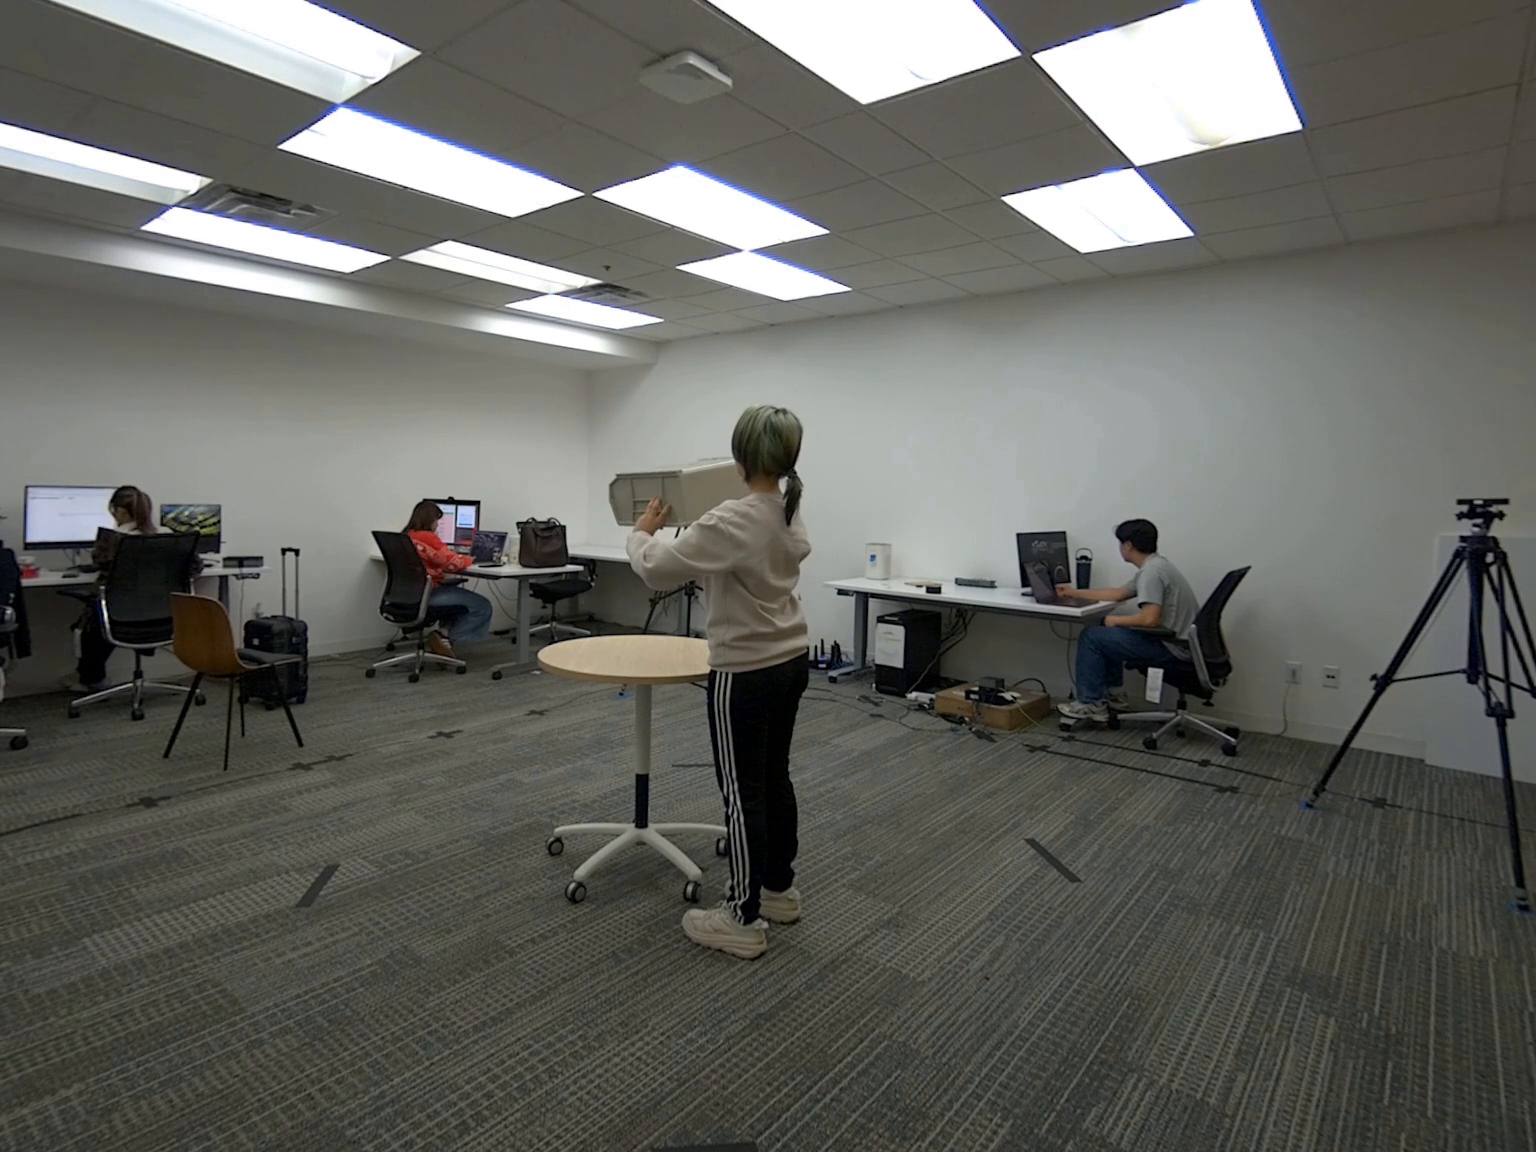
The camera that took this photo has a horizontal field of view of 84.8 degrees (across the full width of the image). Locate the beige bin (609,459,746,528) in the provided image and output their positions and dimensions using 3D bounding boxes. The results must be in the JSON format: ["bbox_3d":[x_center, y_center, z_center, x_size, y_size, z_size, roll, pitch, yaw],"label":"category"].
[{"bbox_3d":[-0.282,-0.294,2.915,0.390,0.187,0.412,4,14,45],"label":"beige bin"}]
